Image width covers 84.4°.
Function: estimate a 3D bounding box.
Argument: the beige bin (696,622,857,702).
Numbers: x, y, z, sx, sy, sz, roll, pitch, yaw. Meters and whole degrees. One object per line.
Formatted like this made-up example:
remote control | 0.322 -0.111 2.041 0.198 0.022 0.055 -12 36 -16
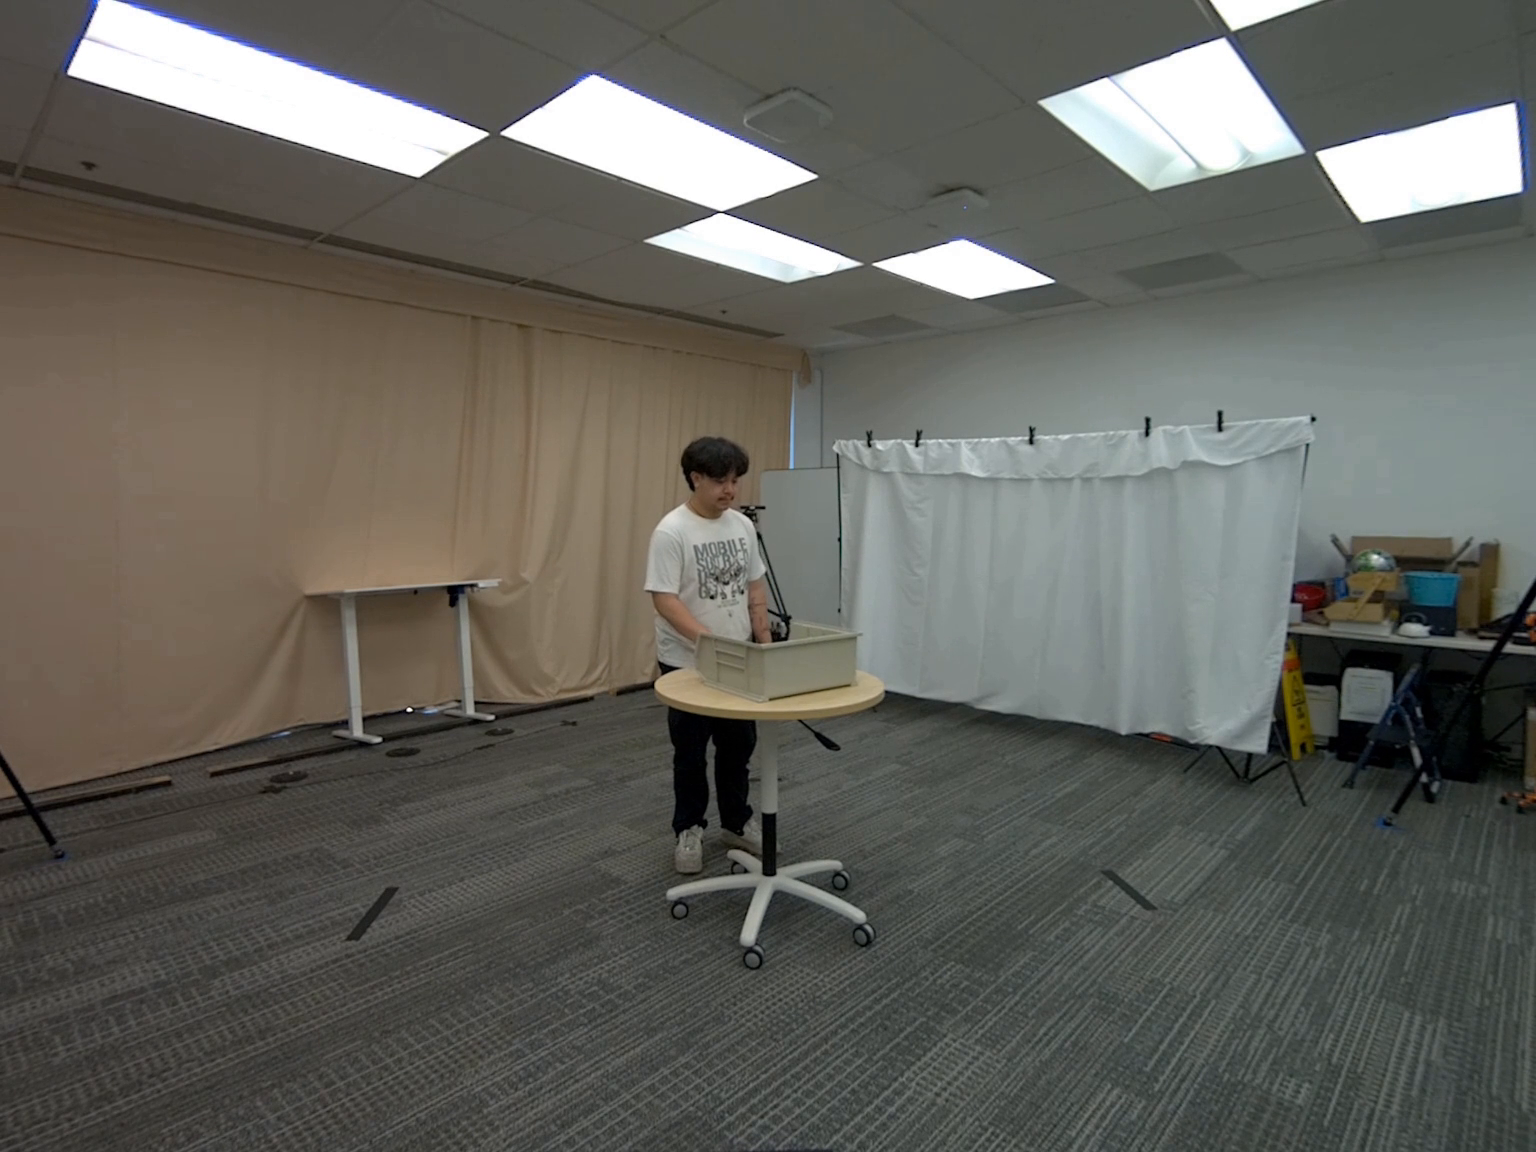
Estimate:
beige bin | 0.034 0.270 2.798 0.410 0.188 0.390 -2 6 -36
